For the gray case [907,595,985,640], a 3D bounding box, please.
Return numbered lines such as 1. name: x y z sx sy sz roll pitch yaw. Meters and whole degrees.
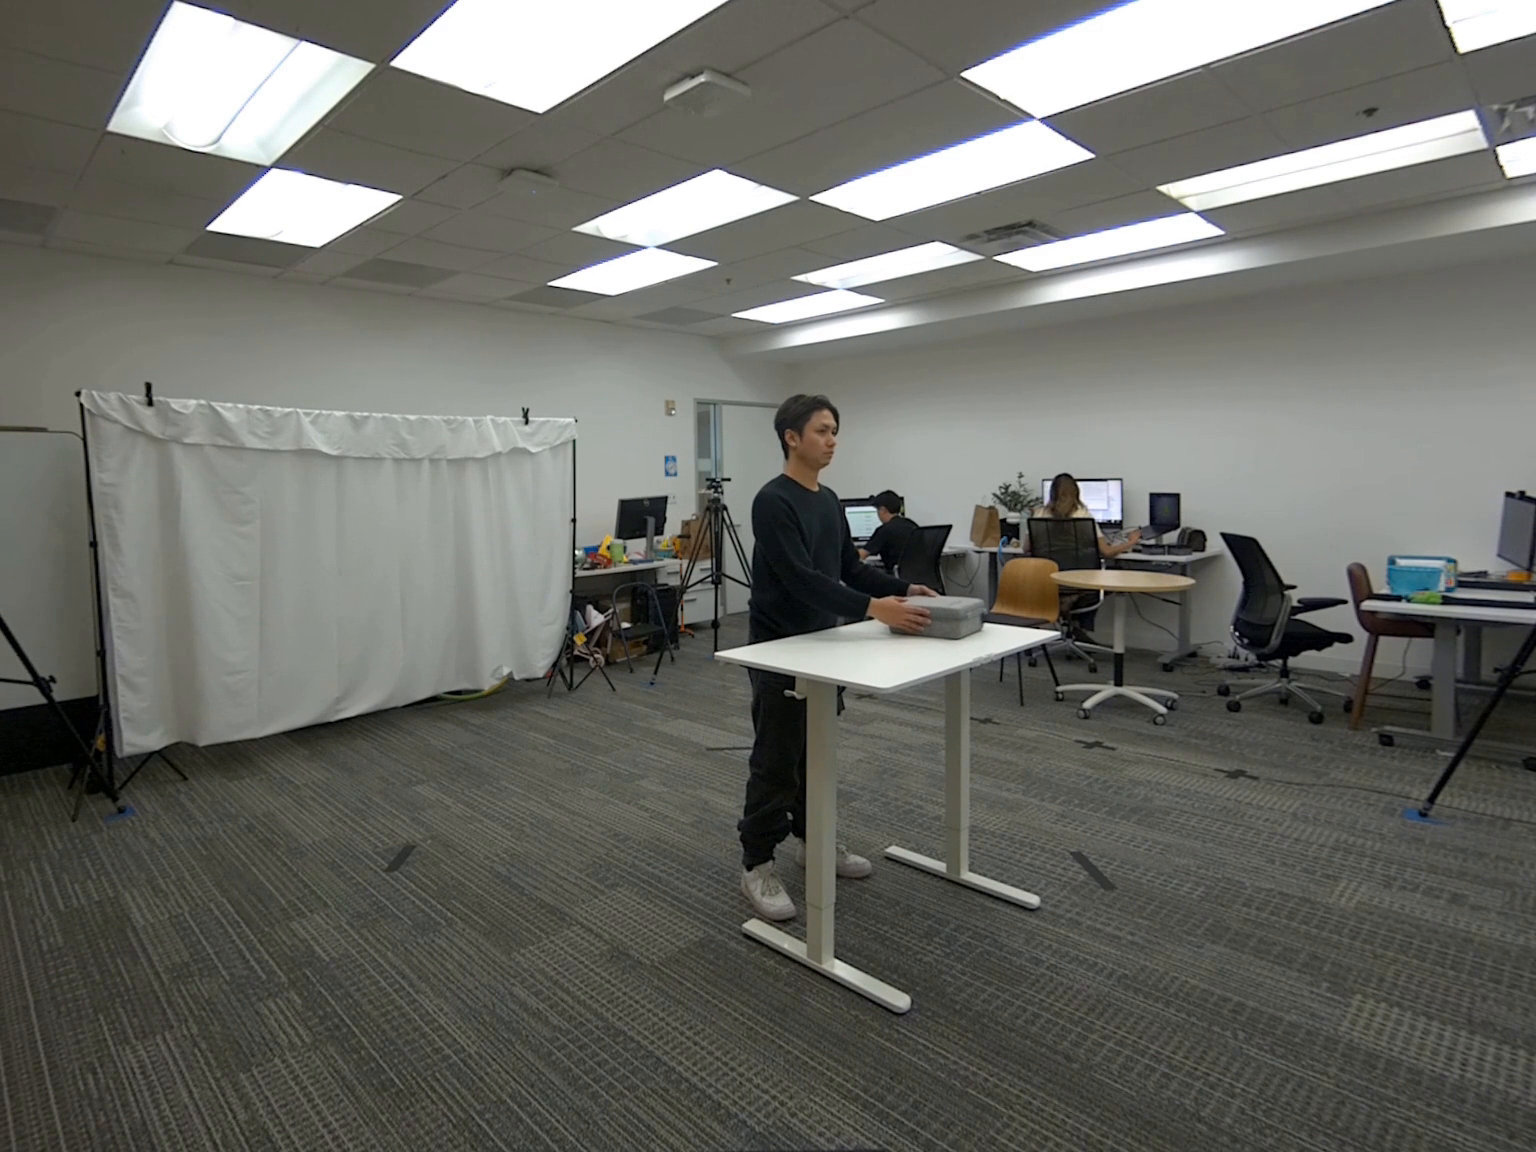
1. gray case: 0.552 0.132 2.805 0.268 0.104 0.251 4 8 37
